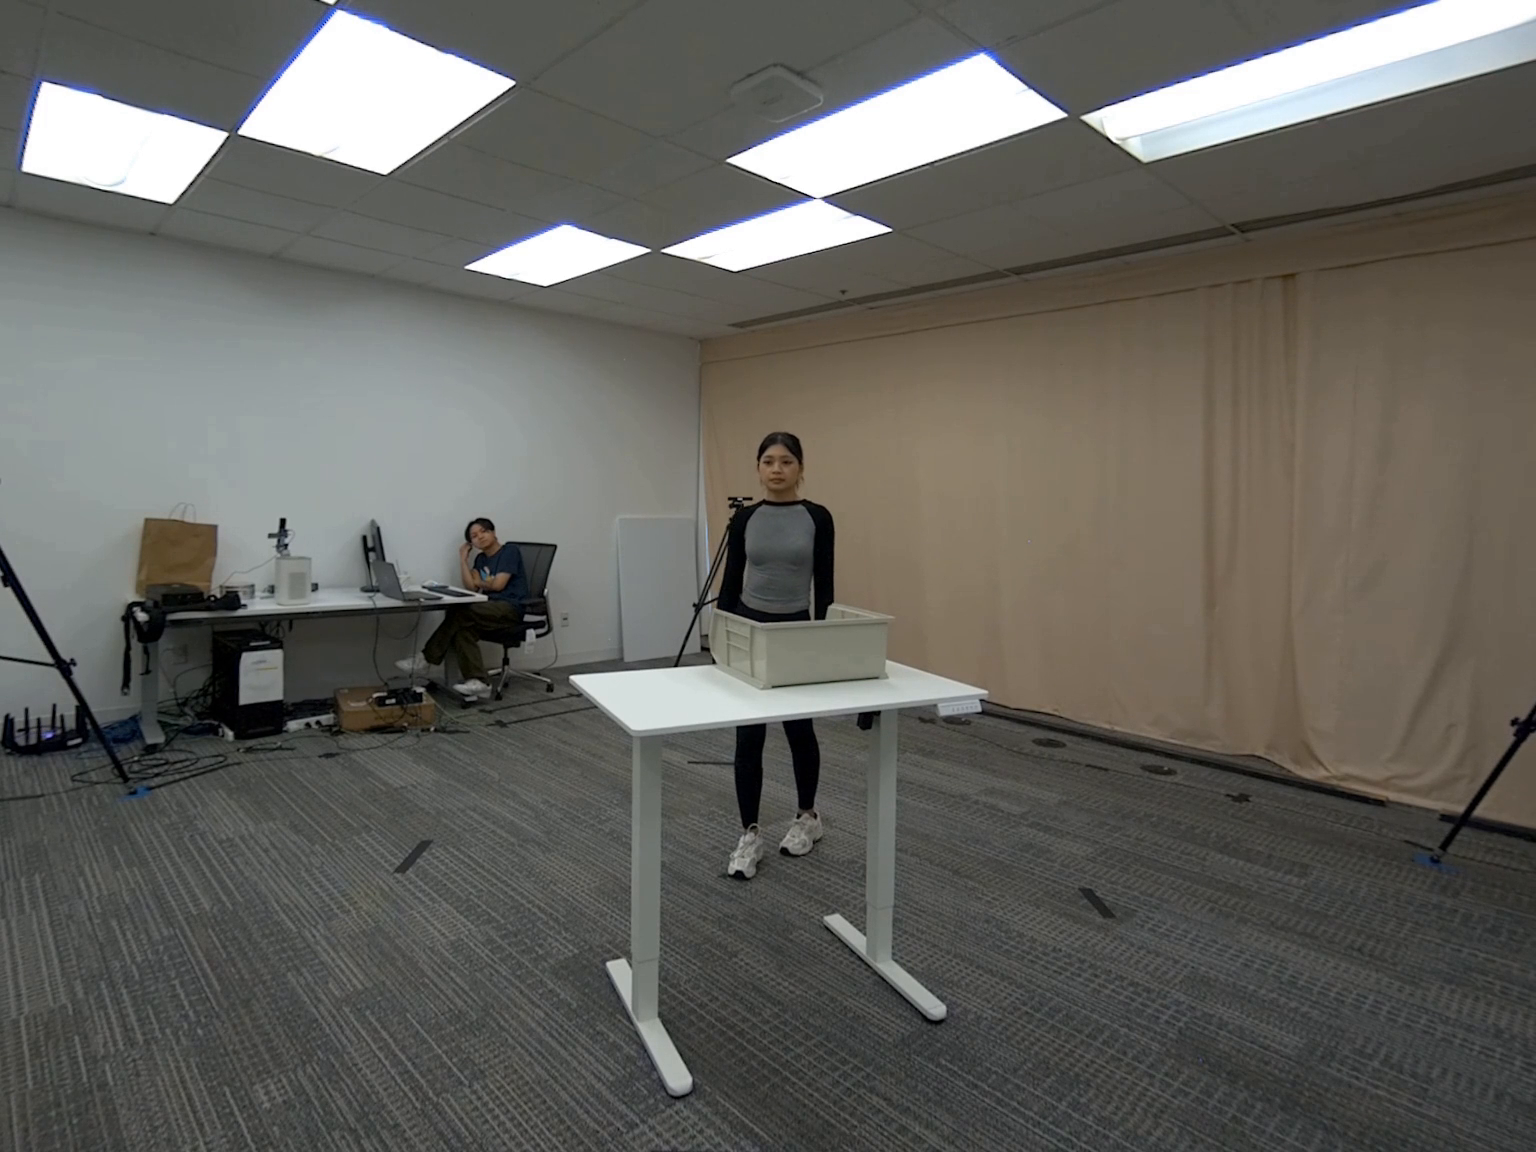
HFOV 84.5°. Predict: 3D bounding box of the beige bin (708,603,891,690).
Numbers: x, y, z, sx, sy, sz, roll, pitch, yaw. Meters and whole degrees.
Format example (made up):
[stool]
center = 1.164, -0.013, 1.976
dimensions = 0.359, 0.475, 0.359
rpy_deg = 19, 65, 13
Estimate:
[beige bin]
center = 0.080, 0.196, 2.492
dimensions = 0.415, 0.188, 0.385
rpy_deg = -1, 6, -25
